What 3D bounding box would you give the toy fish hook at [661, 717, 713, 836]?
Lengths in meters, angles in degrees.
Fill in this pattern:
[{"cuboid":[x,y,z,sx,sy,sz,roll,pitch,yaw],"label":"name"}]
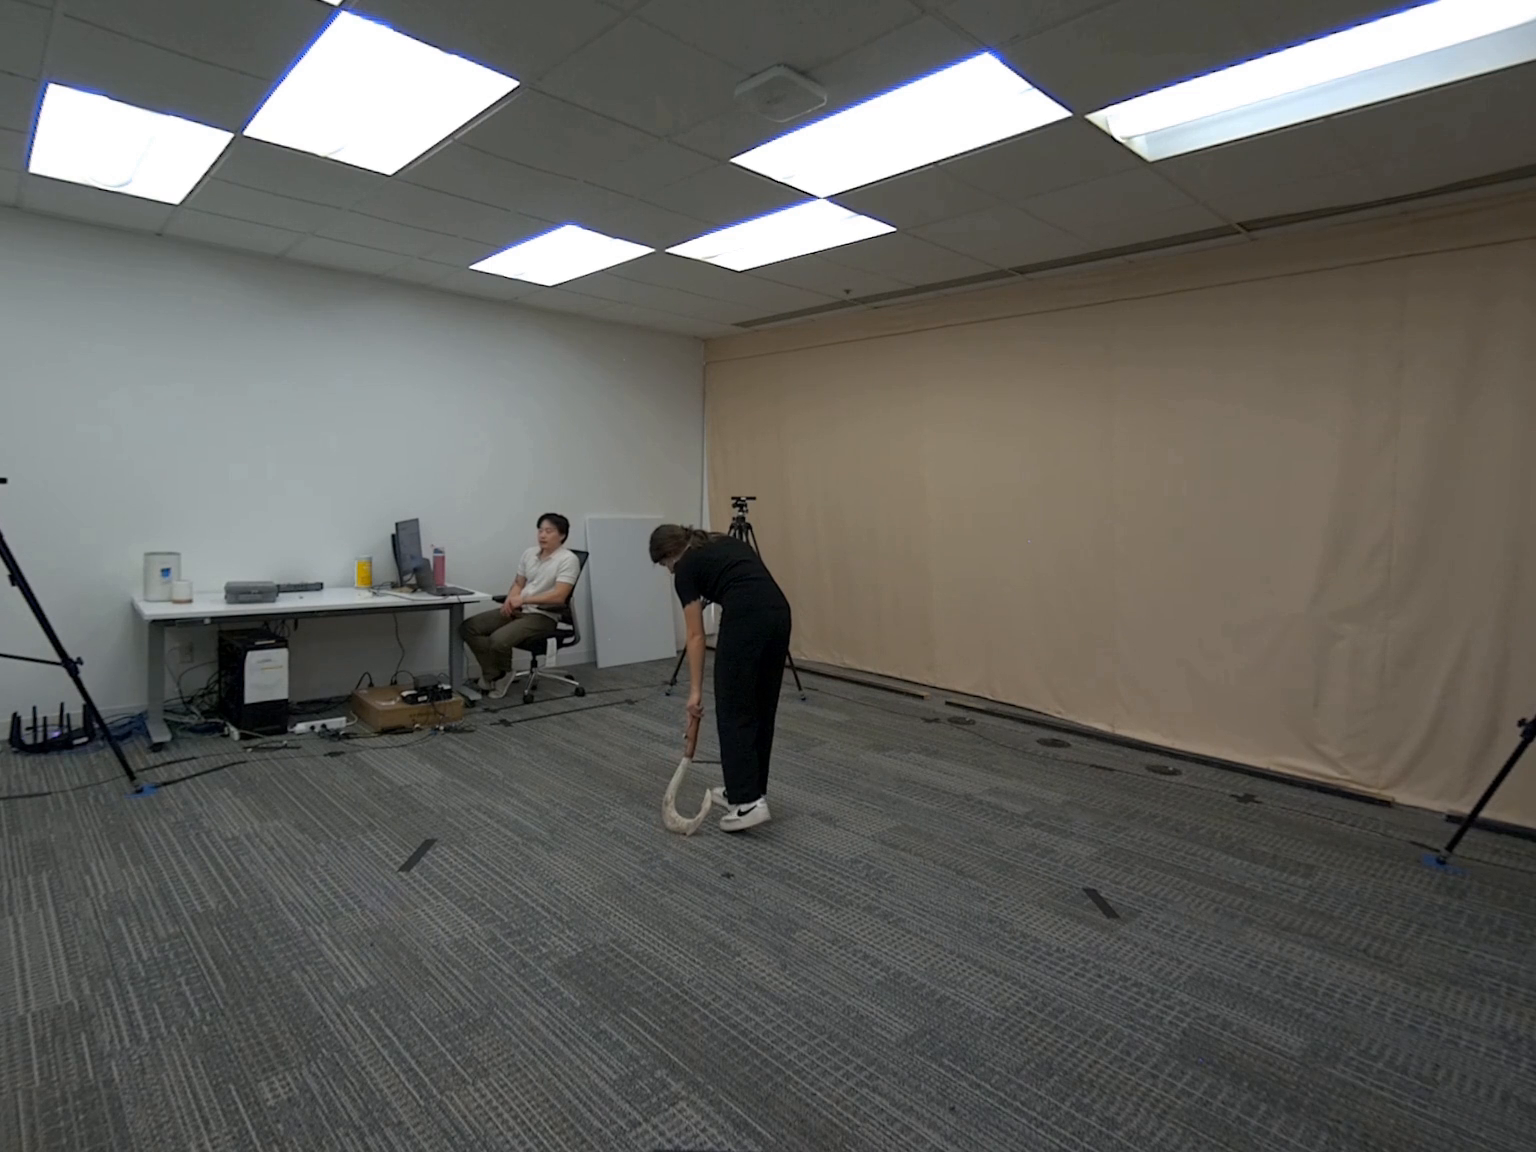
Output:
[{"cuboid":[-0.319,0.829,3.558,0.229,0.511,0.047,4,-19,25],"label":"toy fish hook"}]
